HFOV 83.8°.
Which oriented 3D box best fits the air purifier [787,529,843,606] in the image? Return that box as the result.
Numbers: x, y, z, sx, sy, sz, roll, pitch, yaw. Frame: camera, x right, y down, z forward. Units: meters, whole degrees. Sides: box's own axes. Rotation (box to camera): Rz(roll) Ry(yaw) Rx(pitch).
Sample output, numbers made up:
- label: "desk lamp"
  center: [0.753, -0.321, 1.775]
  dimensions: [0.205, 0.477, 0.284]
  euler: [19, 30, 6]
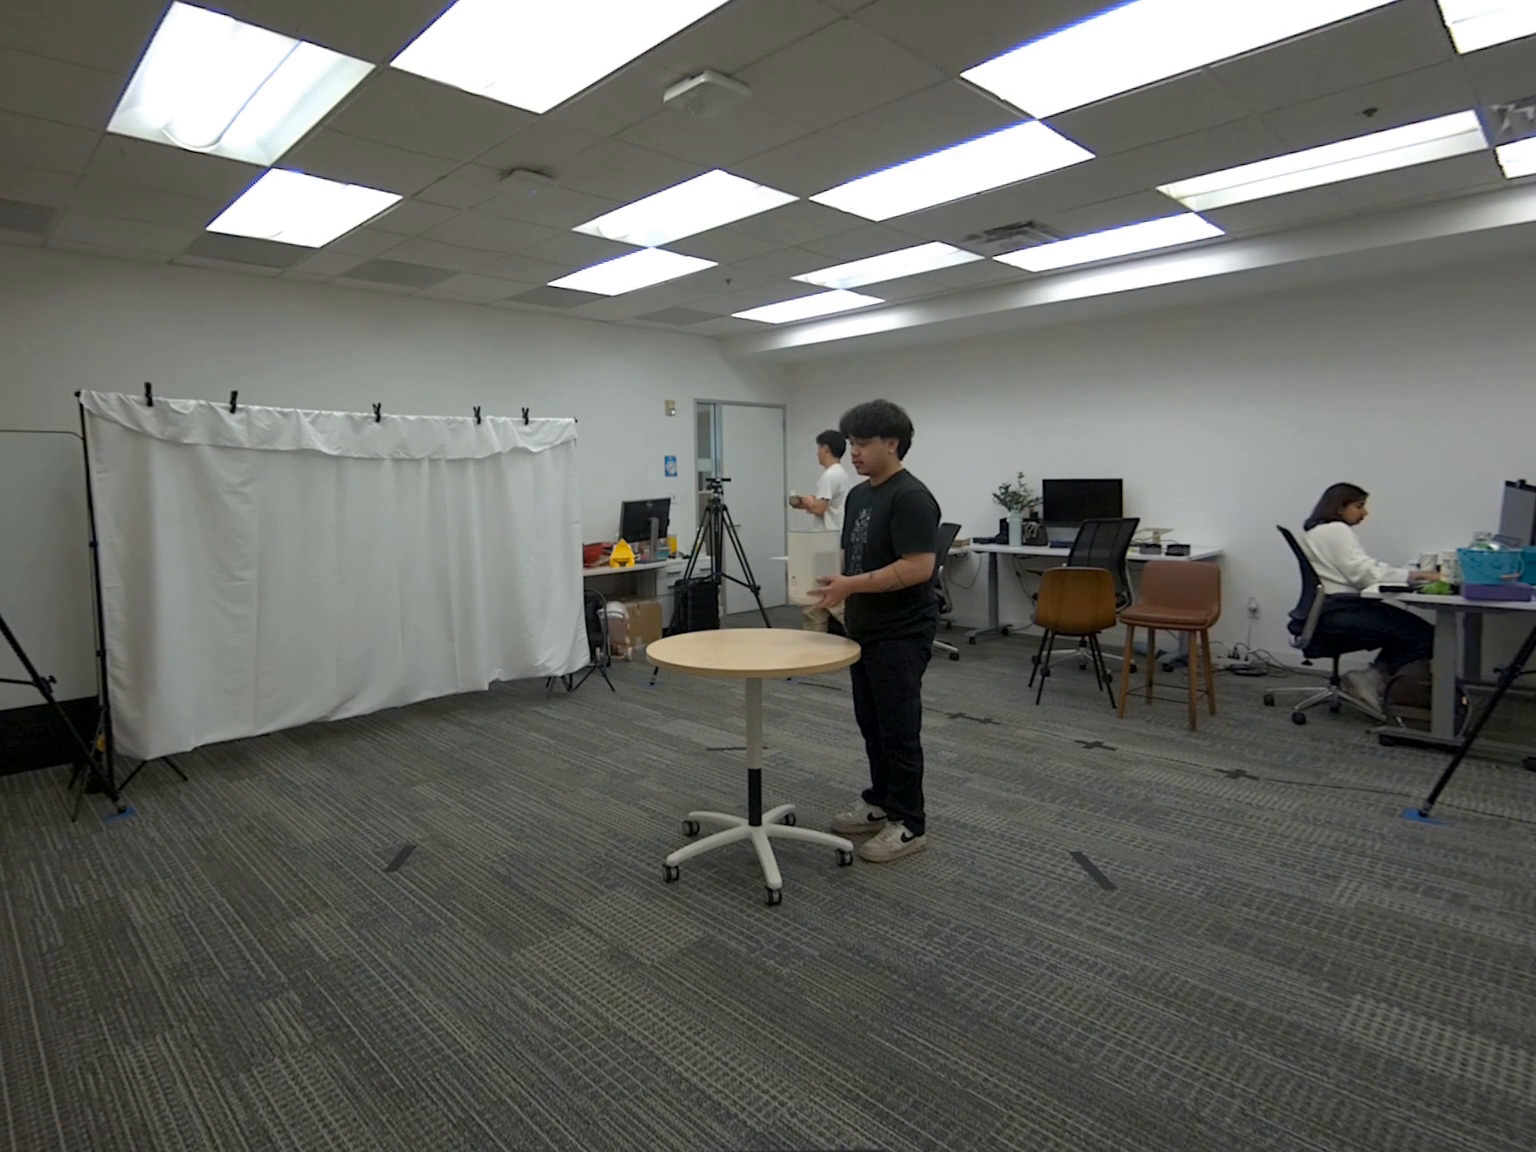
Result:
- label: "air purifier"
  center: [0.180, -0.037, 3.125]
  dimensions: [0.168, 0.264, 0.175]
  euler: [-2, 5, -21]
